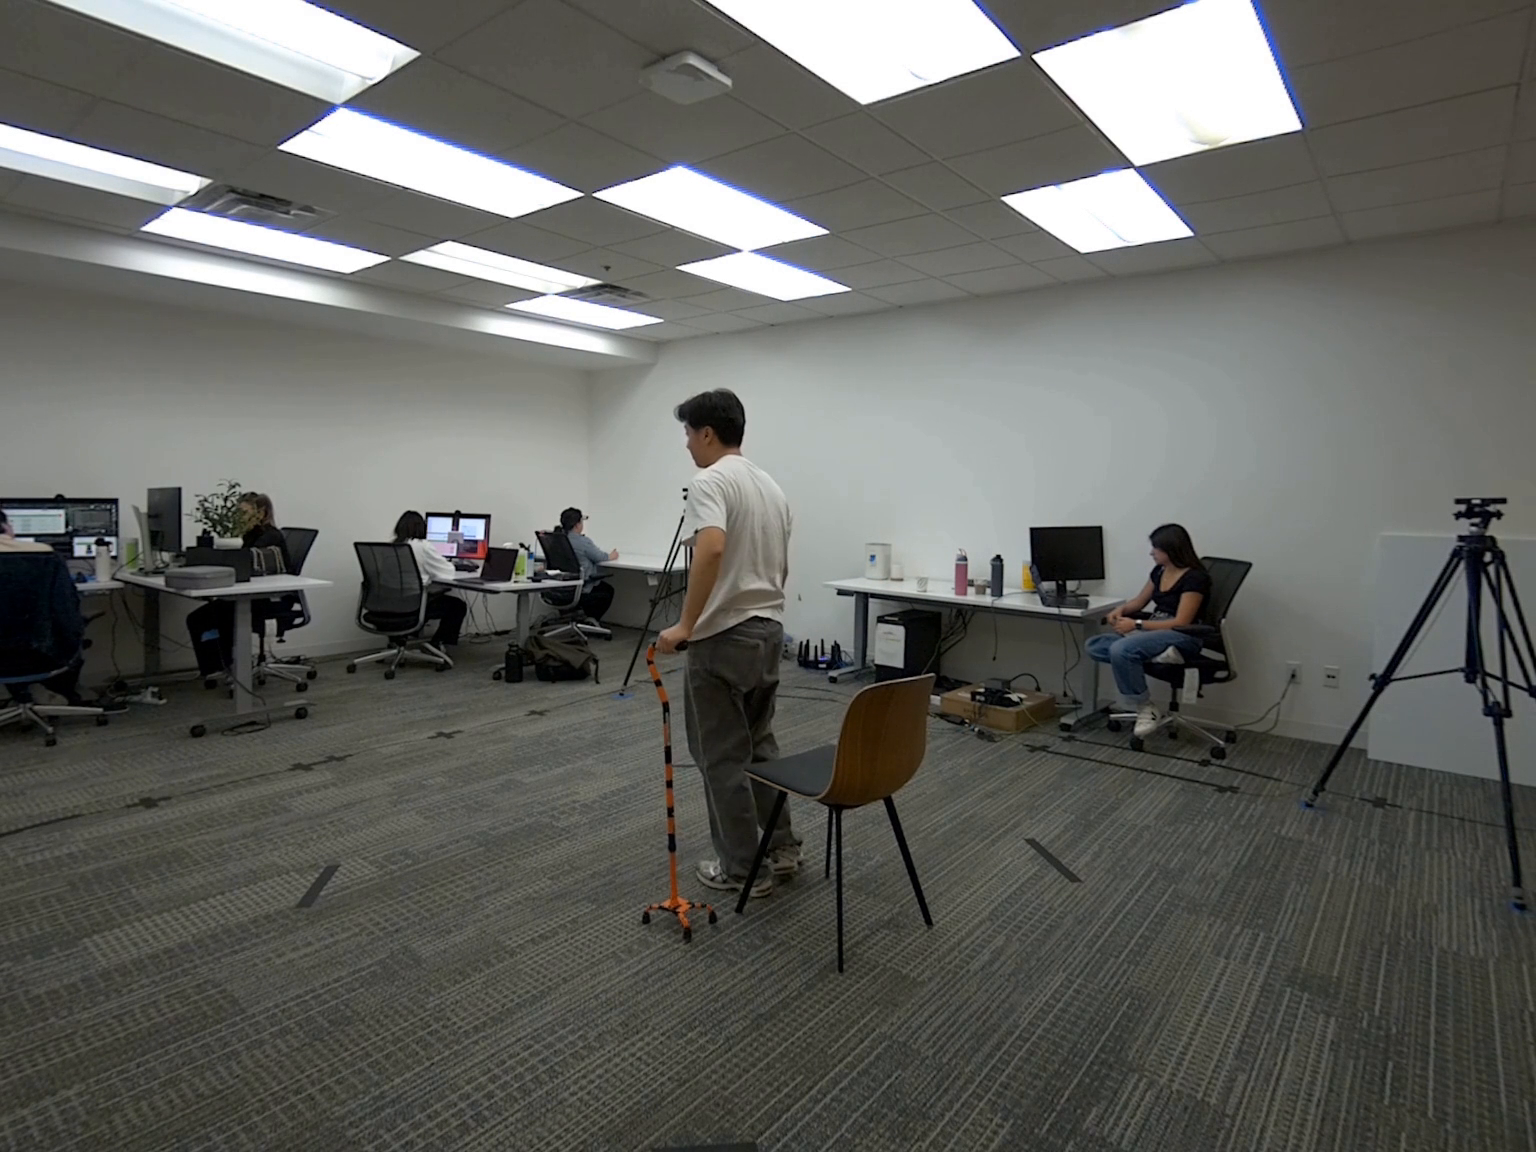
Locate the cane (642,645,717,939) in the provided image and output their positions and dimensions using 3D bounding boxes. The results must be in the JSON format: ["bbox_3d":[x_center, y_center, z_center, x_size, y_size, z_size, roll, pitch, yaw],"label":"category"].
[{"bbox_3d":[-0.310,0.636,2.709,0.213,0.906,0.147,-2,2,39],"label":"cane"}]
